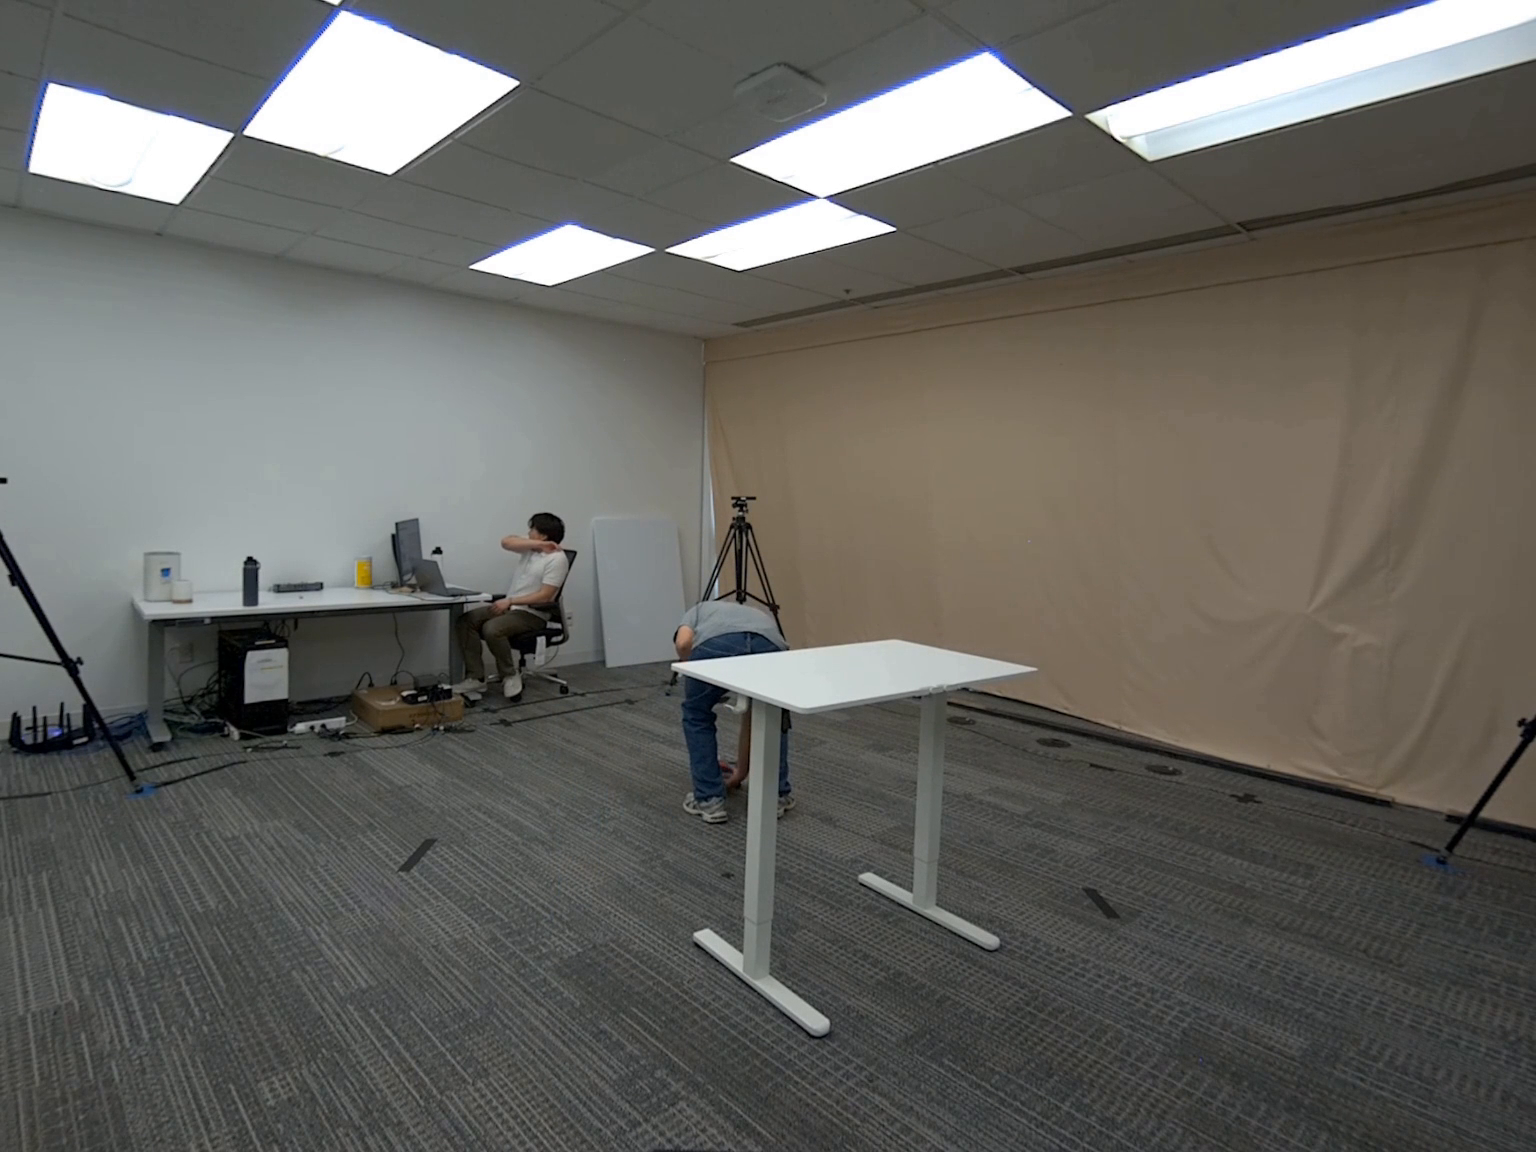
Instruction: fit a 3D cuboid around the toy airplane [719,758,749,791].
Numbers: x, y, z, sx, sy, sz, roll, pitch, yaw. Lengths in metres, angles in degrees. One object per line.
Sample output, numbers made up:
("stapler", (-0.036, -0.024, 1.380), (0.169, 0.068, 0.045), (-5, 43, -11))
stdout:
("toy airplane", (-0.250, 0.954, 4.066), (0.257, 0.156, 0.253), (4, 3, 38))
